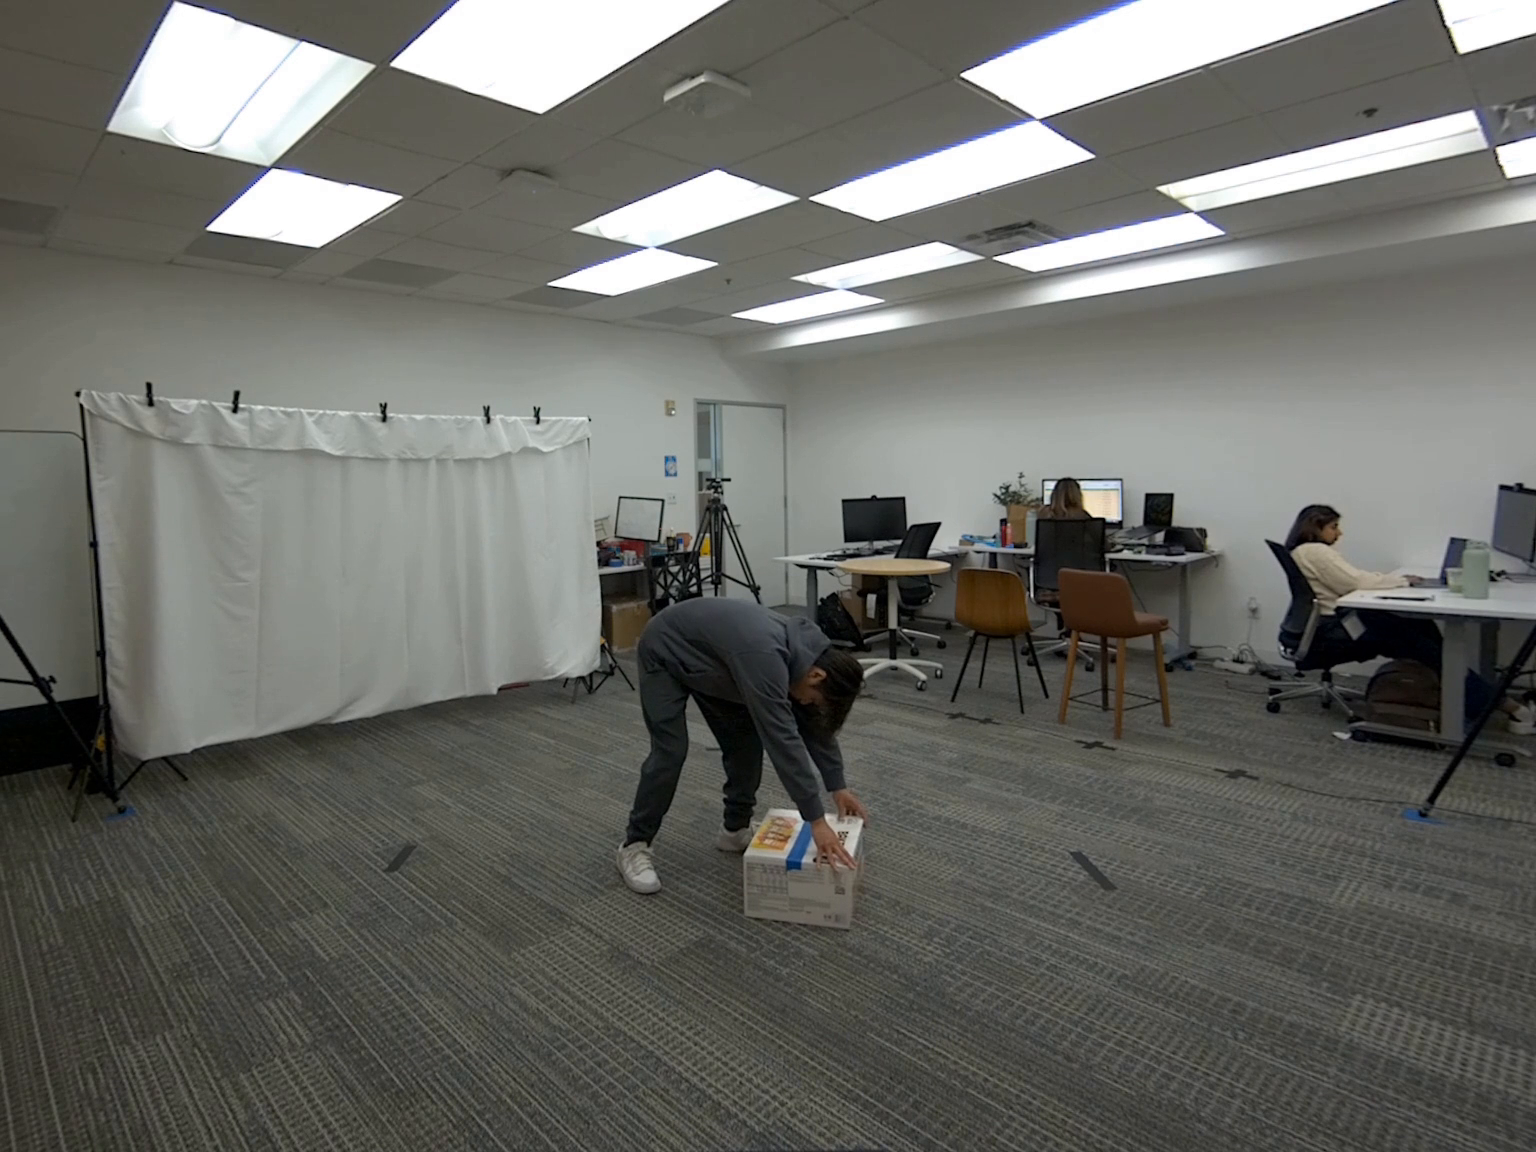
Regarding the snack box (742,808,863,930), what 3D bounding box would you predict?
[{"bbox_3d":[0.134,0.969,2.862,0.345,0.205,0.402,0,6,13],"label":"snack box"}]
